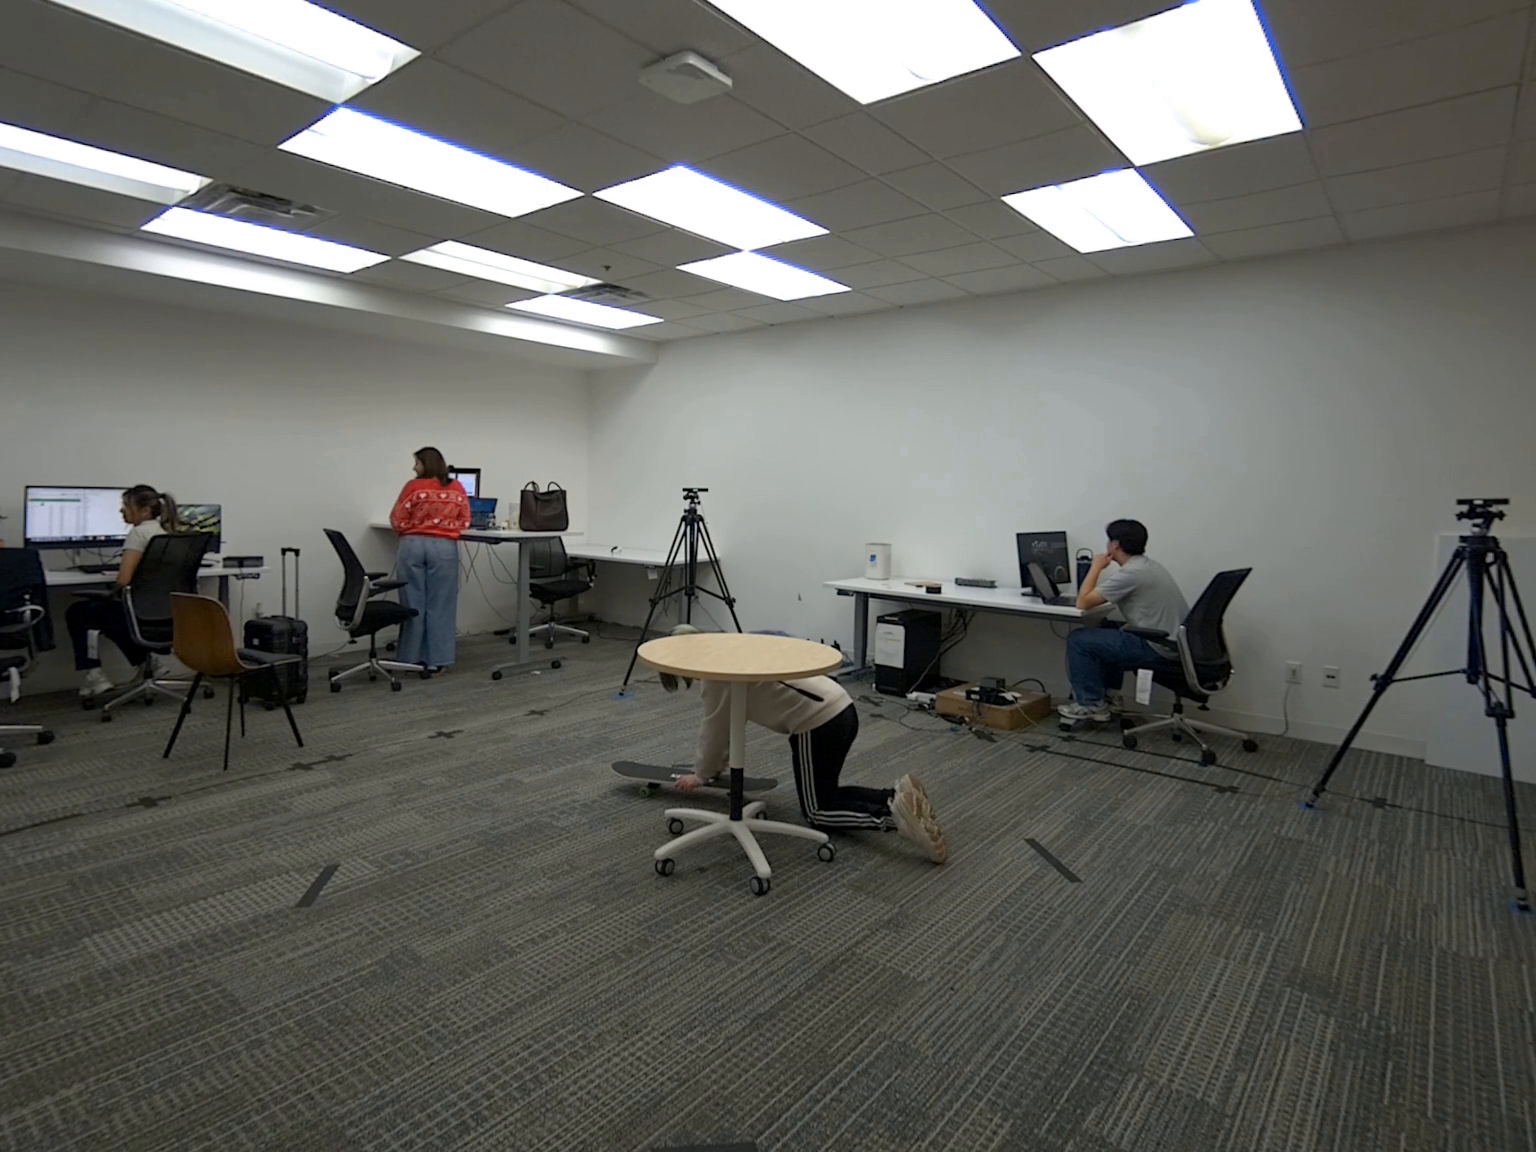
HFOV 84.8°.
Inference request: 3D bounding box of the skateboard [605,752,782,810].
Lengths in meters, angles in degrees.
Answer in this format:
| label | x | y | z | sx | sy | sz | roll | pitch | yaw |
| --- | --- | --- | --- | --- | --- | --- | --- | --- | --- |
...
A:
| label | x | y | z | sx | sy | sz | roll | pitch | yaw |
| --- | --- | --- | --- | --- | --- | --- | --- | --- | --- |
| skateboard | -0.346 | 0.929 | 3.845 | 0.800 | 0.110 | 0.191 | 3 | 5 | 17 |
